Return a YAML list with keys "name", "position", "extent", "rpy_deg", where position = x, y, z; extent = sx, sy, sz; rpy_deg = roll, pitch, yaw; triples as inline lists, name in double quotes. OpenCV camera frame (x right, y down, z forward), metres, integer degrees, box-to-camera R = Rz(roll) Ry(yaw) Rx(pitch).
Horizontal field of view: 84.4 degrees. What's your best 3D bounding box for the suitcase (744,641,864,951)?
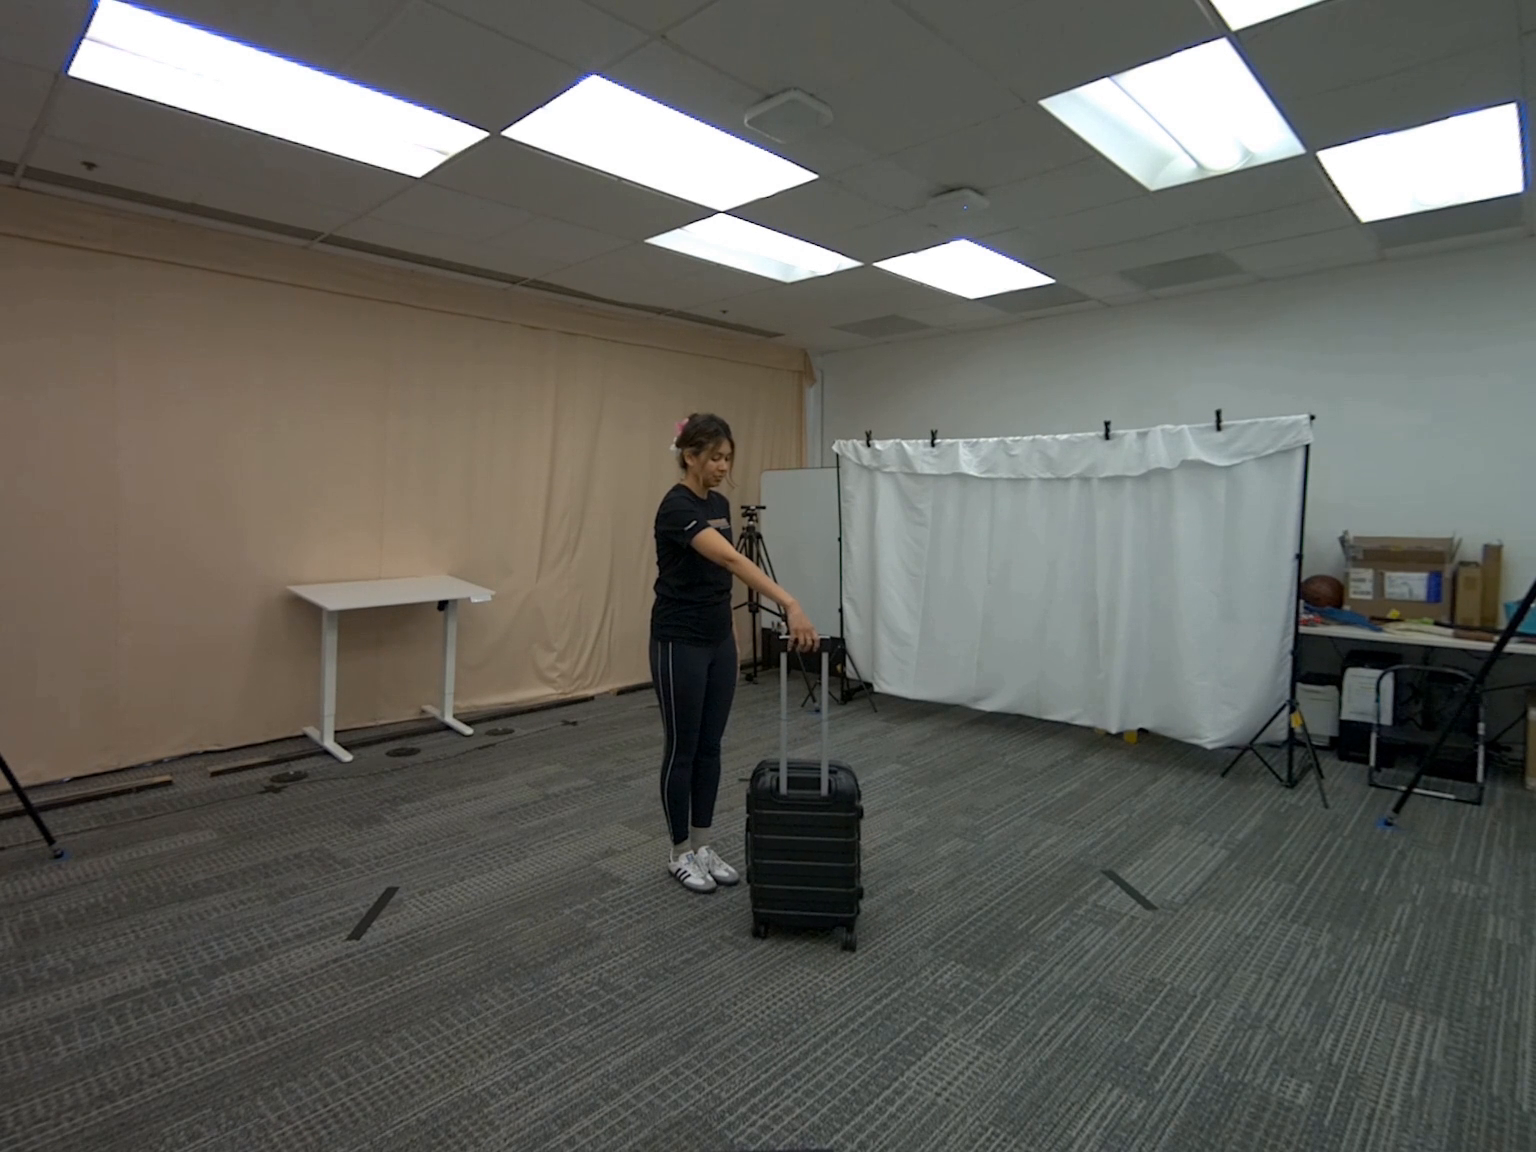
- name: "suitcase"
  position: [0.120, 0.687, 2.763]
  extent: [0.387, 0.977, 0.255]
  rpy_deg: [0, 2, 6]
